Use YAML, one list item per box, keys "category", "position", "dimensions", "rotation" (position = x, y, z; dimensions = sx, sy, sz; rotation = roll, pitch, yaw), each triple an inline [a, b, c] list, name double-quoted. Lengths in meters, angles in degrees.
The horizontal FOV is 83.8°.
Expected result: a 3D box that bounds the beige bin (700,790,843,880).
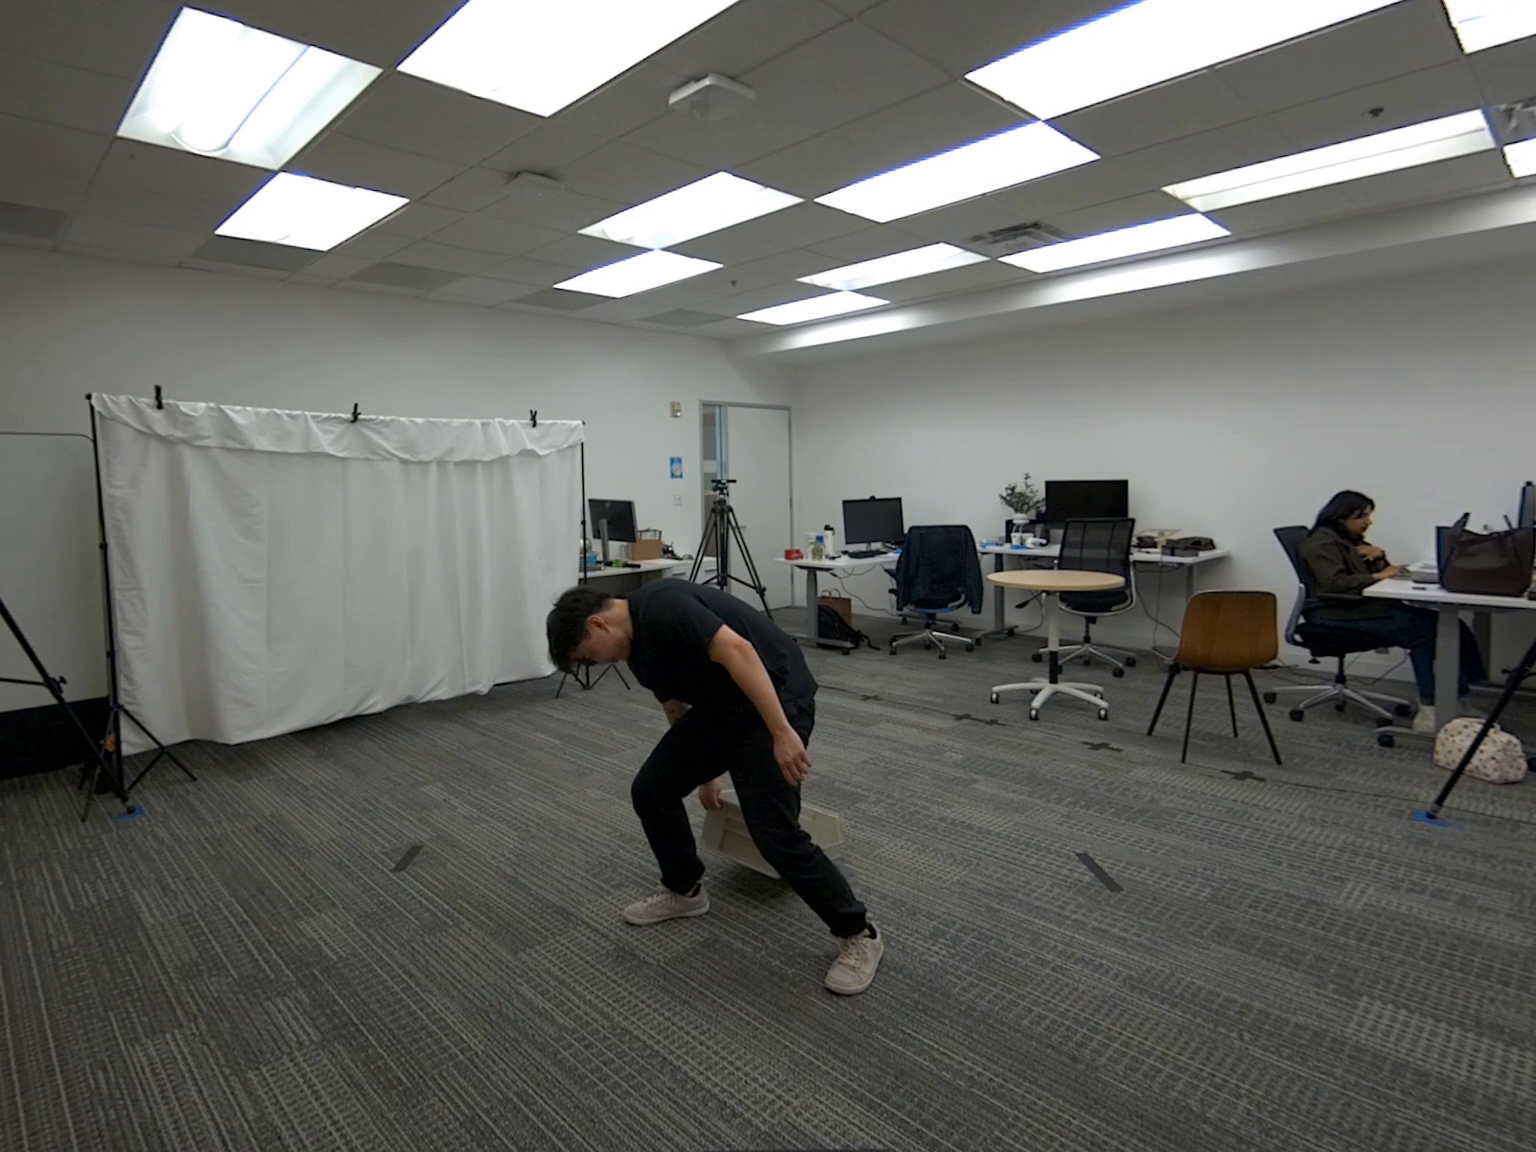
- category: "beige bin"
  position: [0.027, 0.905, 3.019]
  dimensions: [0.388, 0.190, 0.408]
  rotation: [9, -5, 31]
